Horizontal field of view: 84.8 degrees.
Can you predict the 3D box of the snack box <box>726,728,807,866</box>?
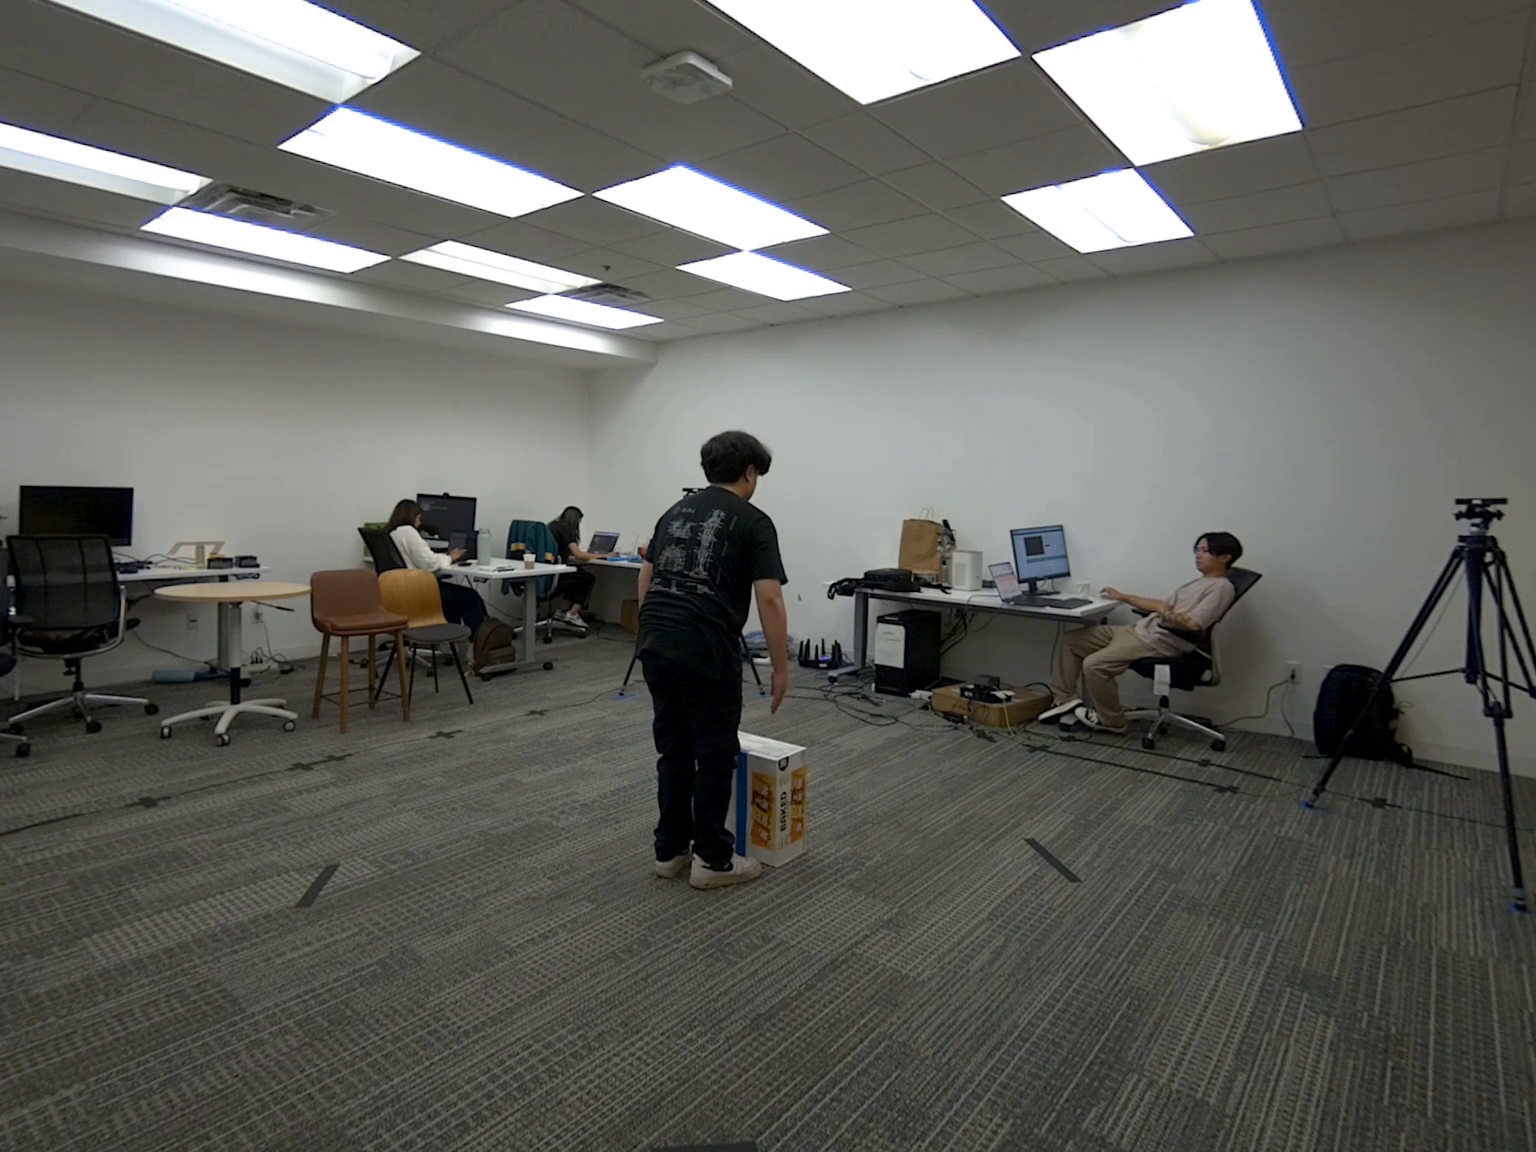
[{"bbox_3d":[-0.053,0.849,3.292,0.351,0.404,0.199,4,4,38],"label":"snack box"}]
